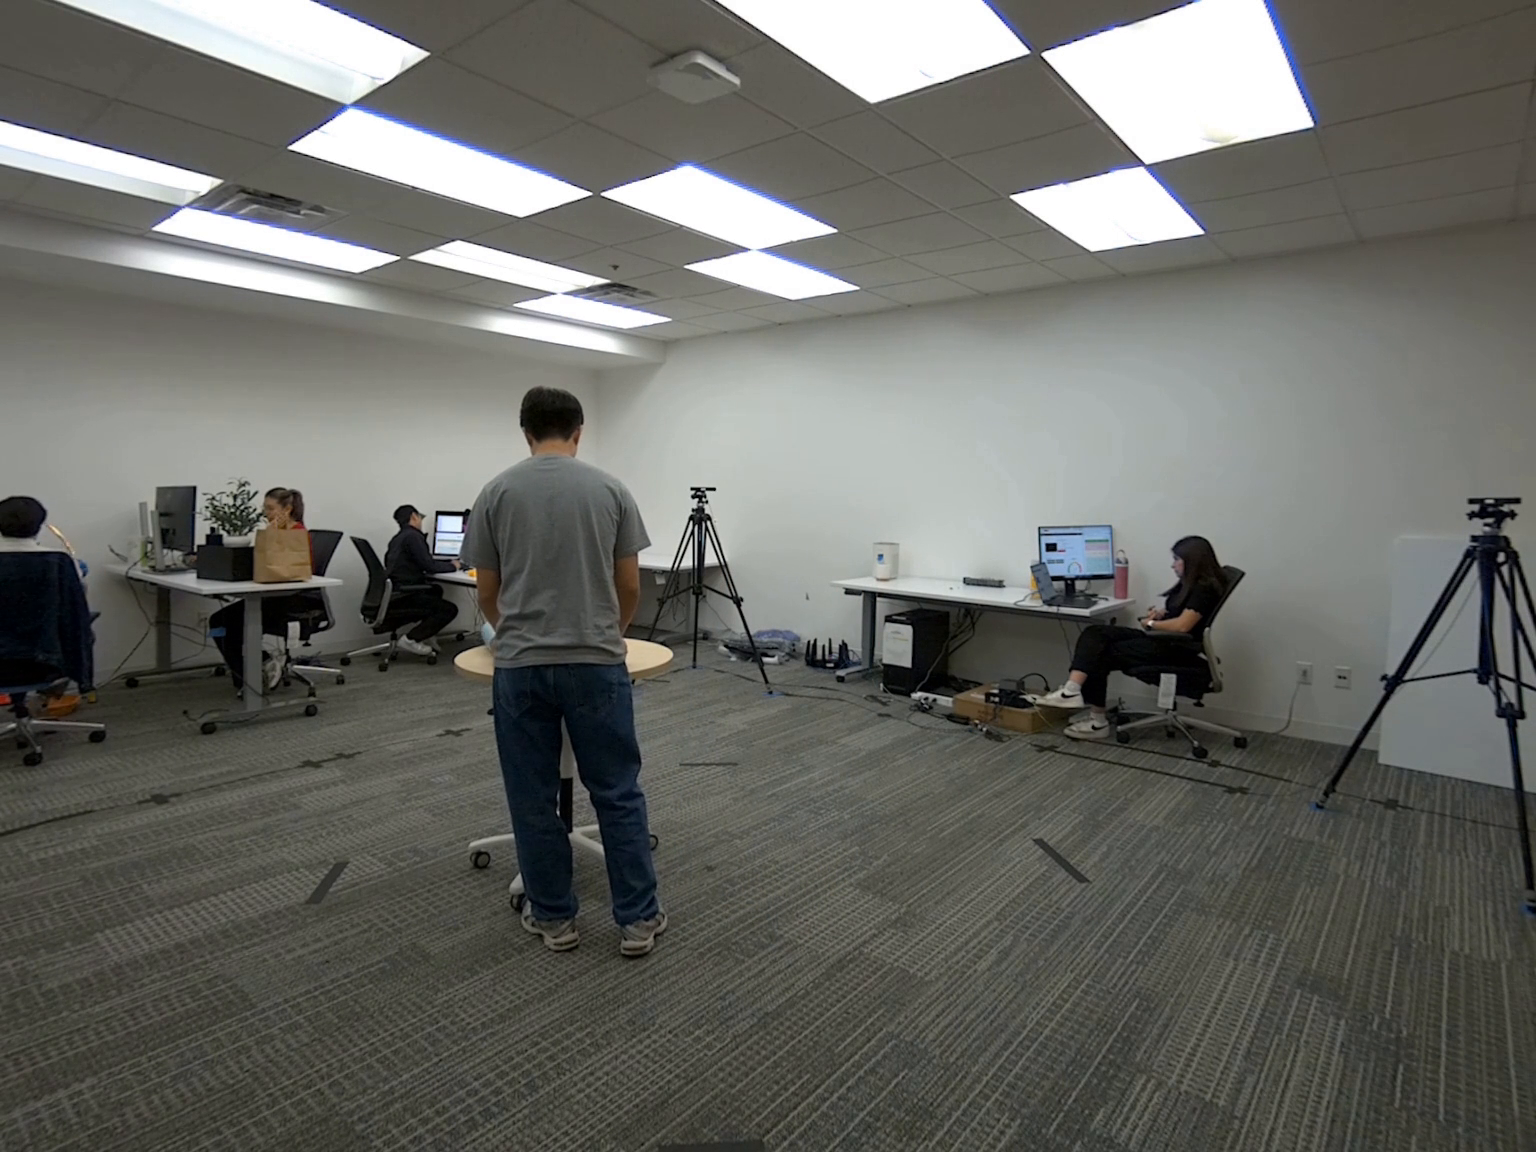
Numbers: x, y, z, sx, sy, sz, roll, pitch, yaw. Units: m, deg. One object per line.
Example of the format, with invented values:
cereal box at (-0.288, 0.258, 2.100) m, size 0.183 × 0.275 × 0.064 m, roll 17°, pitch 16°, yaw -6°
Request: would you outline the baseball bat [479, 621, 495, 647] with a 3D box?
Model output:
baseball bat at (-0.940, 0.245, 3.005) m, size 0.087 × 0.088 × 0.558 m, roll -1°, pitch 9°, yaw -24°
